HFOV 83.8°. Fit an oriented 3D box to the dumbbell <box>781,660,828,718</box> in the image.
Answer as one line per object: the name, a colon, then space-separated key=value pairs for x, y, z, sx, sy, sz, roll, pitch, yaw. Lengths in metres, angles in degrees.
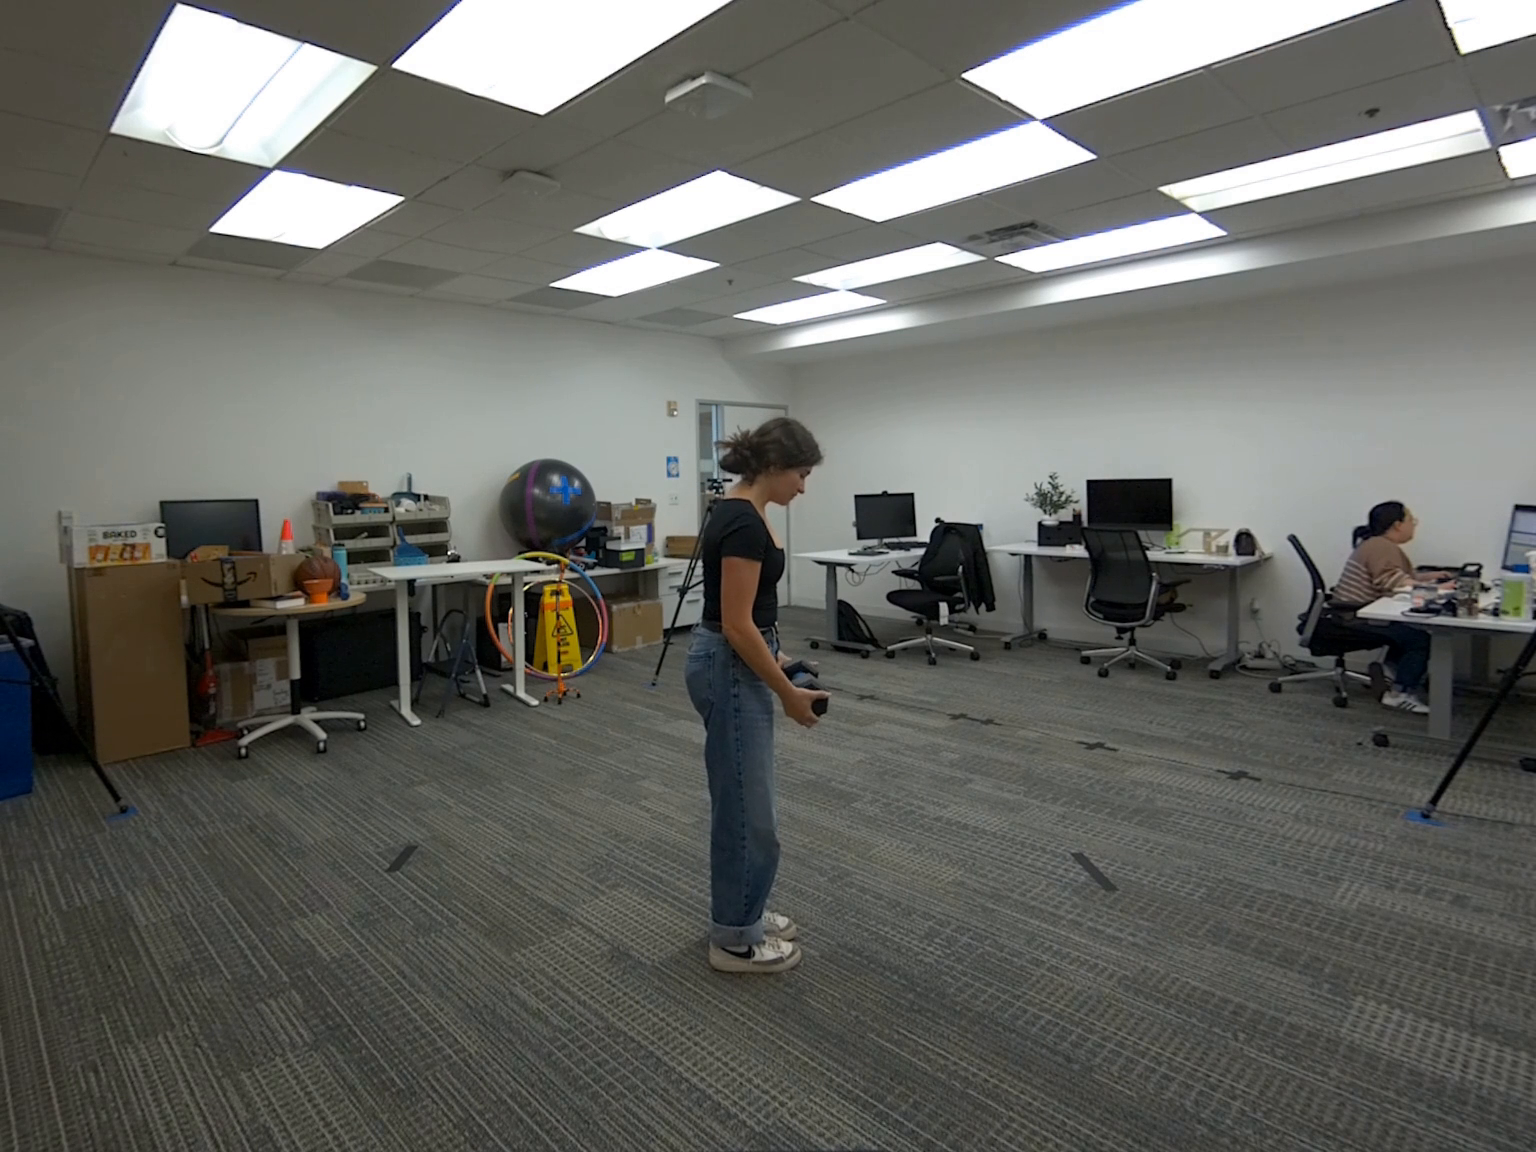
dumbbell: x=0.090 y=0.334 z=2.493 sx=0.108 sy=0.122 sz=0.296 roll=7 pitch=9 yaw=-3
